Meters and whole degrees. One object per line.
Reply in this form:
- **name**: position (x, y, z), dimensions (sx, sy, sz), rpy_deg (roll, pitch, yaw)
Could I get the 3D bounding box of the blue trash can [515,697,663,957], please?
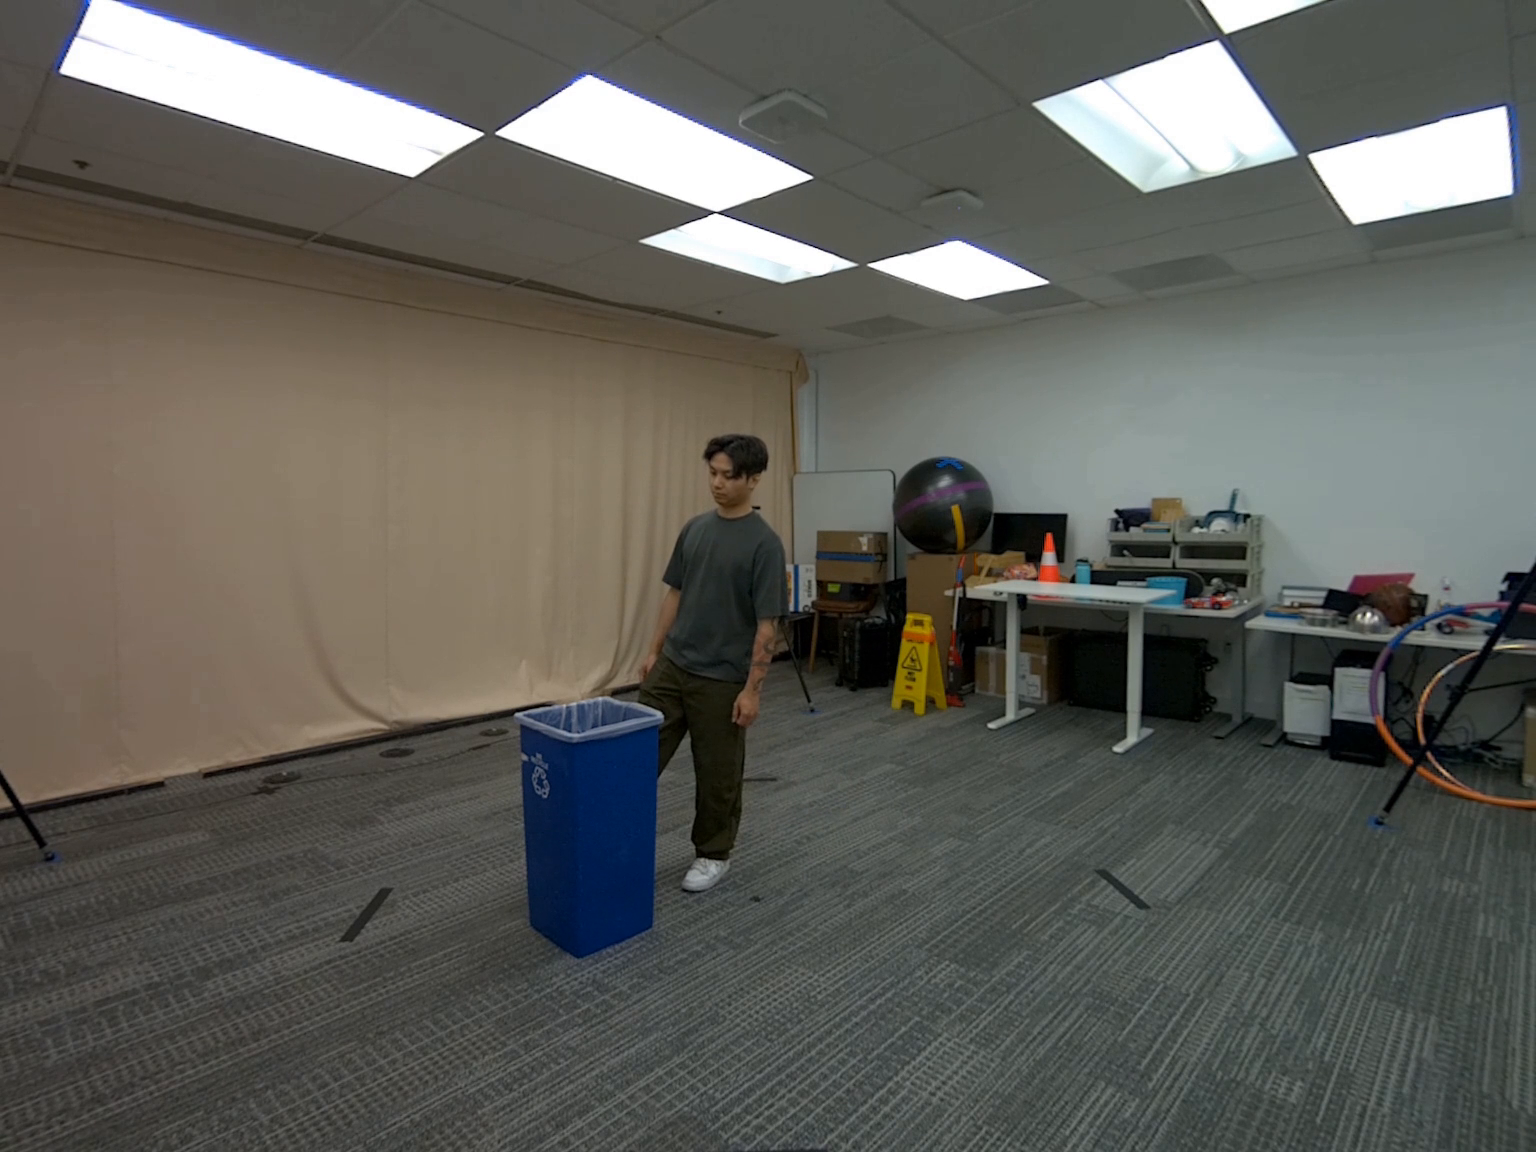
- **blue trash can**: position (-0.588, 0.806, 2.783), dimensions (0.391, 0.712, 0.363), rpy_deg (3, 5, 44)
